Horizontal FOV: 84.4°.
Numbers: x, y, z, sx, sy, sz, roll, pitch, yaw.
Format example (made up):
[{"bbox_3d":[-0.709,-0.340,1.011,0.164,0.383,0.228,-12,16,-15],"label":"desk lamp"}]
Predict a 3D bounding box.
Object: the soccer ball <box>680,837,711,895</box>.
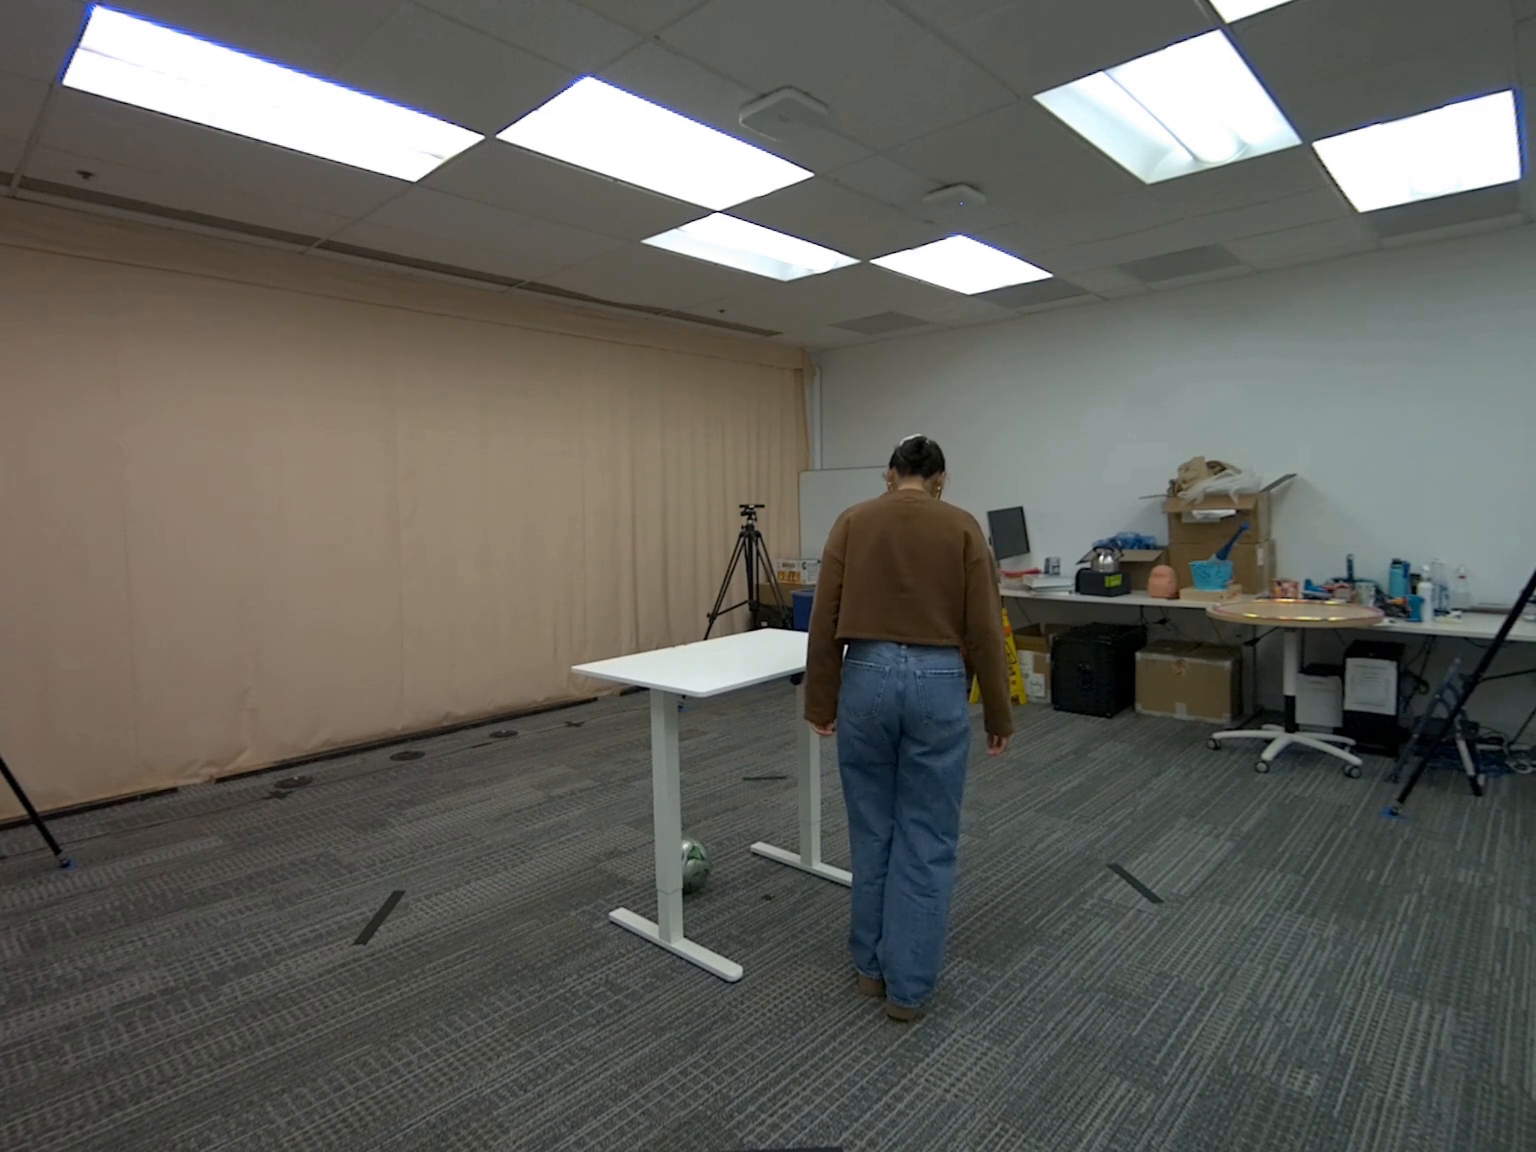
[{"bbox_3d":[-0.298,1.045,3.055,0.187,0.187,0.188,-1,4,-2],"label":"soccer ball"}]
